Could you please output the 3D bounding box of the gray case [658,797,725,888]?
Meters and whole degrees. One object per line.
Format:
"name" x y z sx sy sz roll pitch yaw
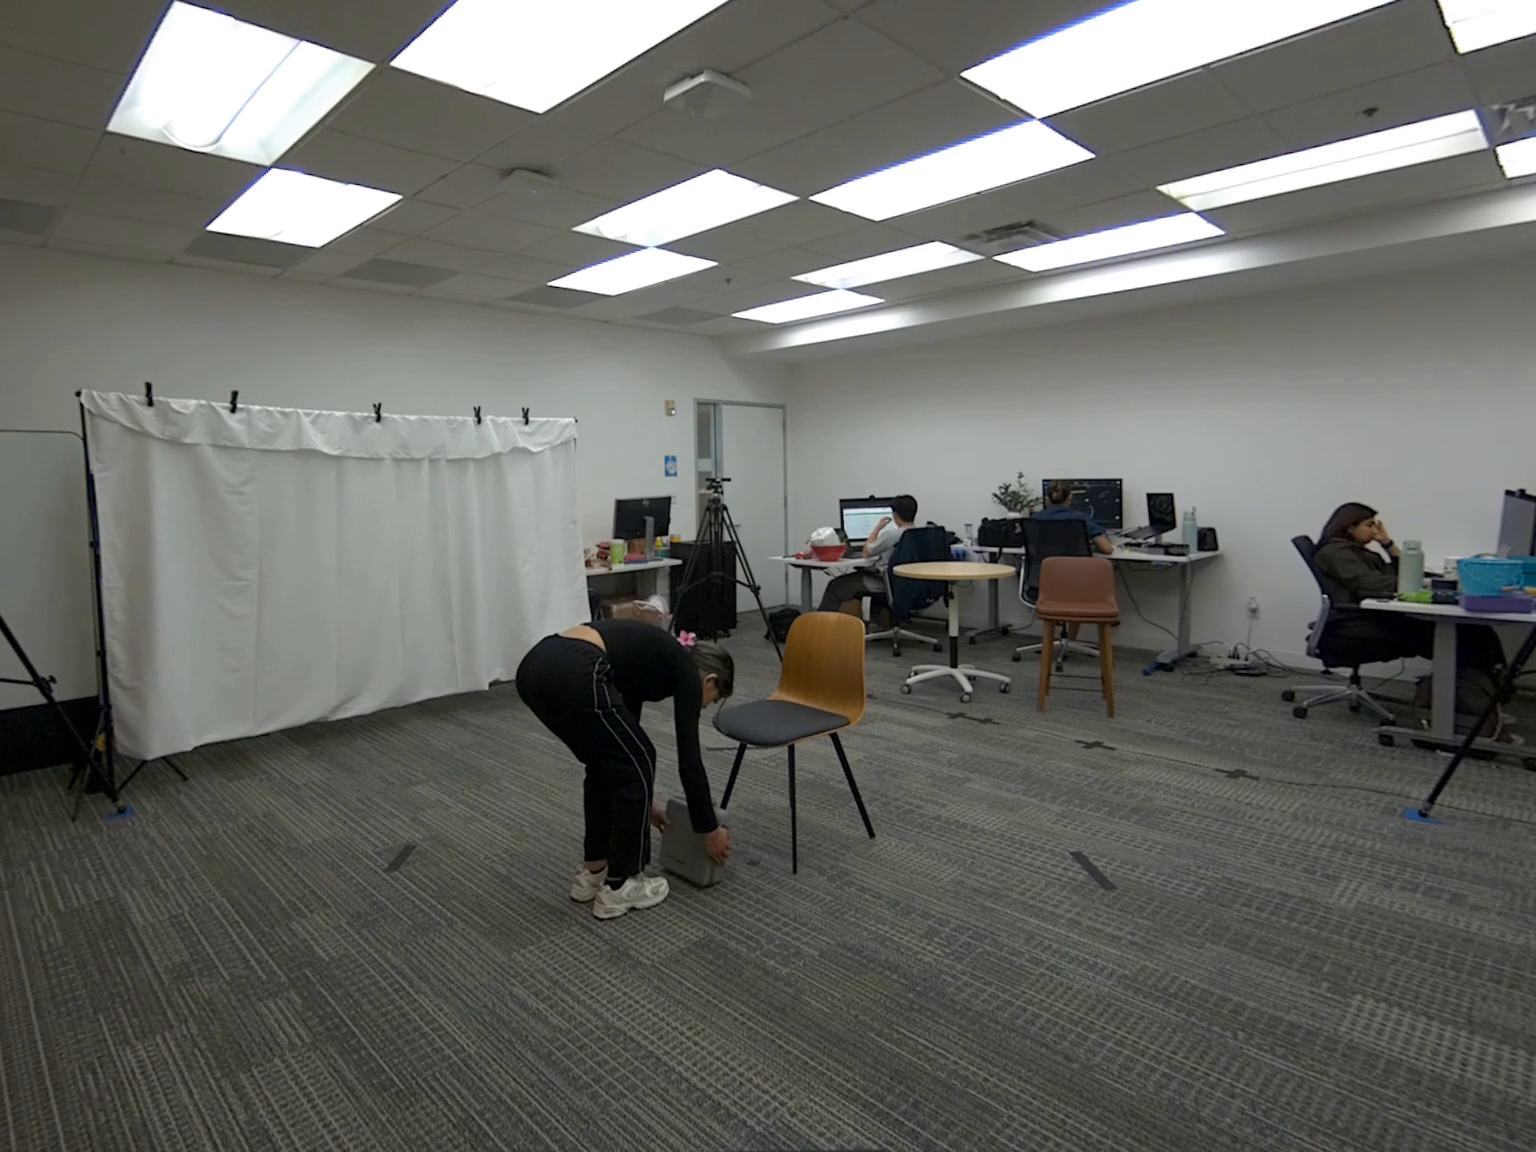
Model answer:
"gray case" -0.255 0.927 3.018 0.265 0.261 0.101 5 -4 44
